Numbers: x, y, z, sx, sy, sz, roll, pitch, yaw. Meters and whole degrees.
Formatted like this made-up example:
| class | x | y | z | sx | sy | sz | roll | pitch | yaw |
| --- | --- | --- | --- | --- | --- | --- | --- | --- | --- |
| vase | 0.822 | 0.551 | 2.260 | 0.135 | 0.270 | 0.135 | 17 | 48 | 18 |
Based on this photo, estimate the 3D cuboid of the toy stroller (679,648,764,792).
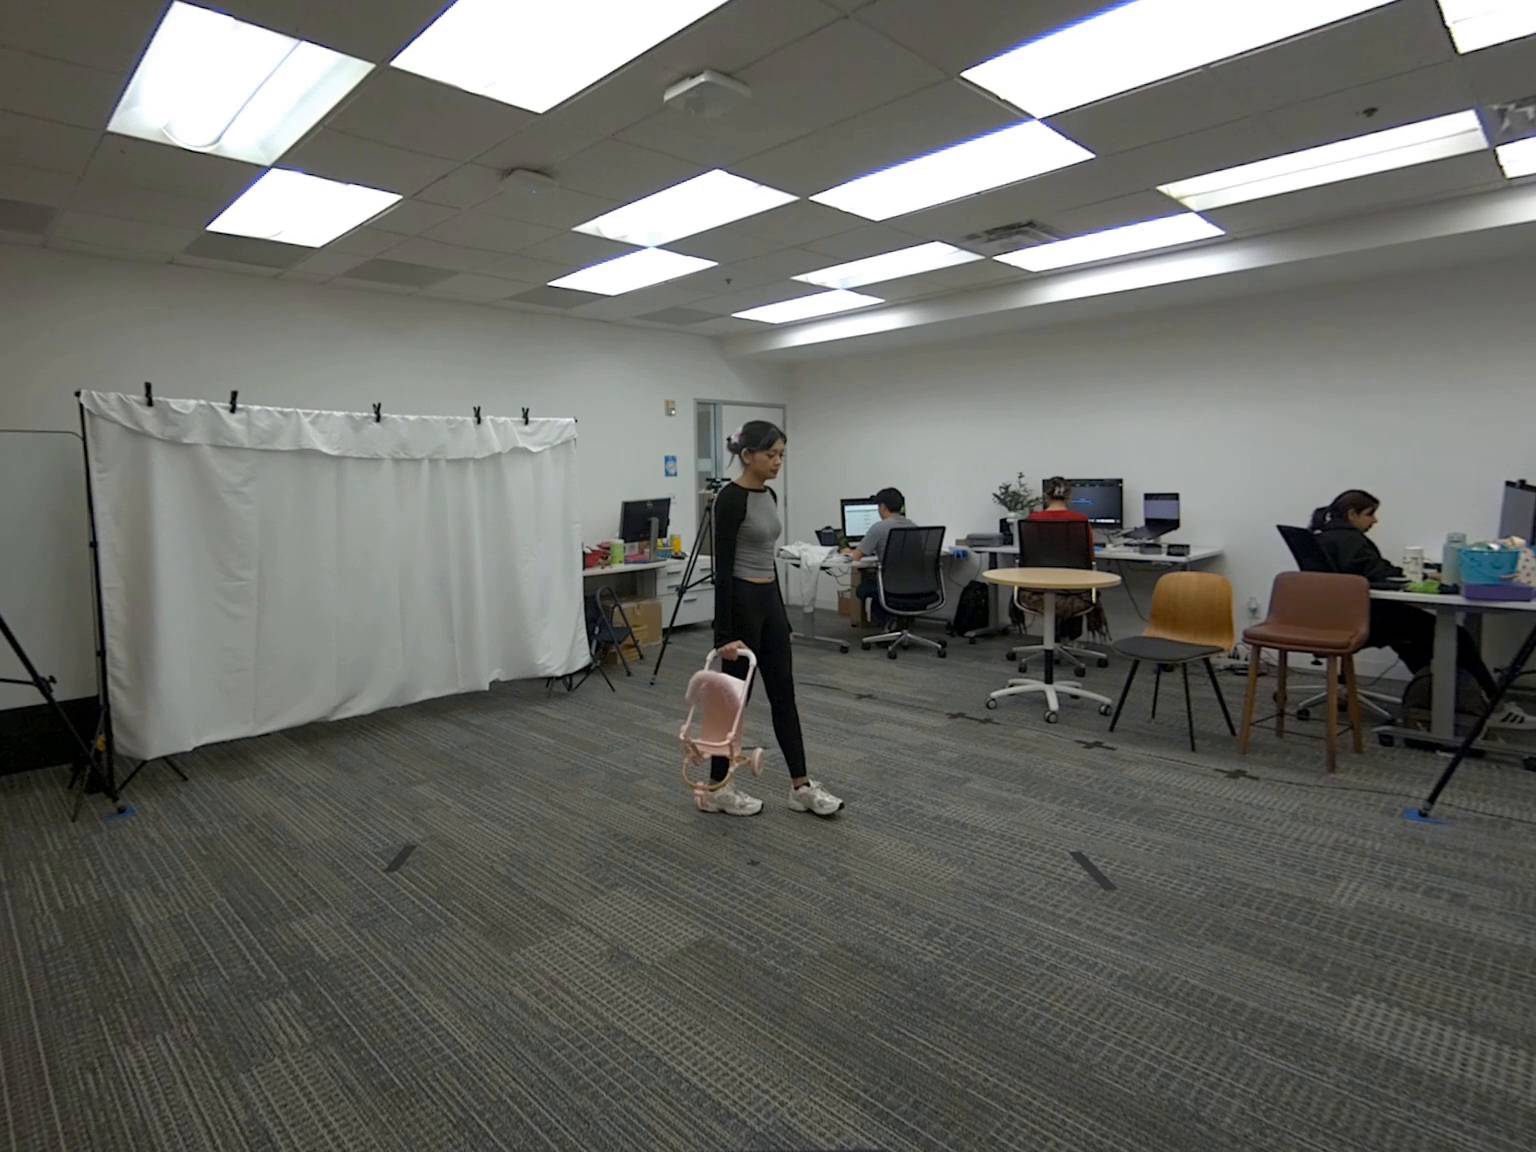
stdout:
| class | x | y | z | sx | sy | sz | roll | pitch | yaw |
| --- | --- | --- | --- | --- | --- | --- | --- | --- | --- |
| toy stroller | -0.196 | 0.574 | 3.231 | 0.289 | 0.531 | 0.335 | 5 | 10 | 28 |
